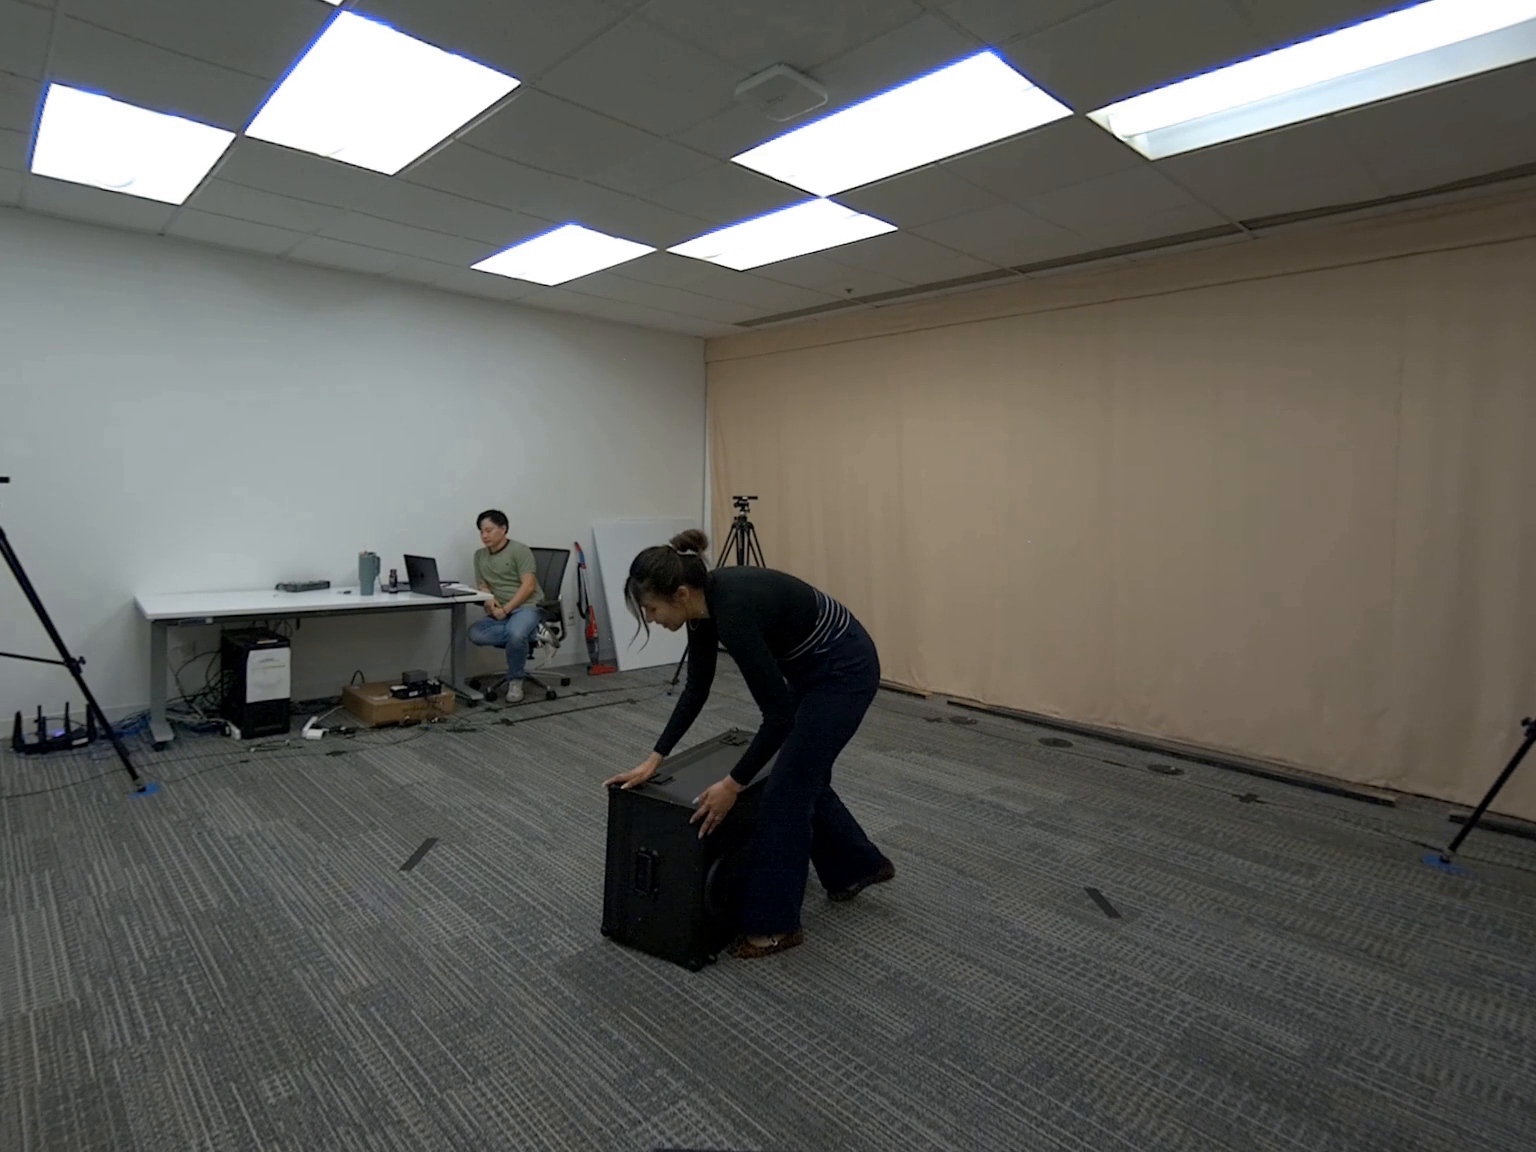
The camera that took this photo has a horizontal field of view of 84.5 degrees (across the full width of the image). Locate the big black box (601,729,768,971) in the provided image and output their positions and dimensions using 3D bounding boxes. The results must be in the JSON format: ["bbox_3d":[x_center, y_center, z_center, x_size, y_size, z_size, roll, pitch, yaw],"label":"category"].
[{"bbox_3d":[-0.150,0.867,2.876,0.405,0.519,0.846,5,7,27],"label":"big black box"}]
